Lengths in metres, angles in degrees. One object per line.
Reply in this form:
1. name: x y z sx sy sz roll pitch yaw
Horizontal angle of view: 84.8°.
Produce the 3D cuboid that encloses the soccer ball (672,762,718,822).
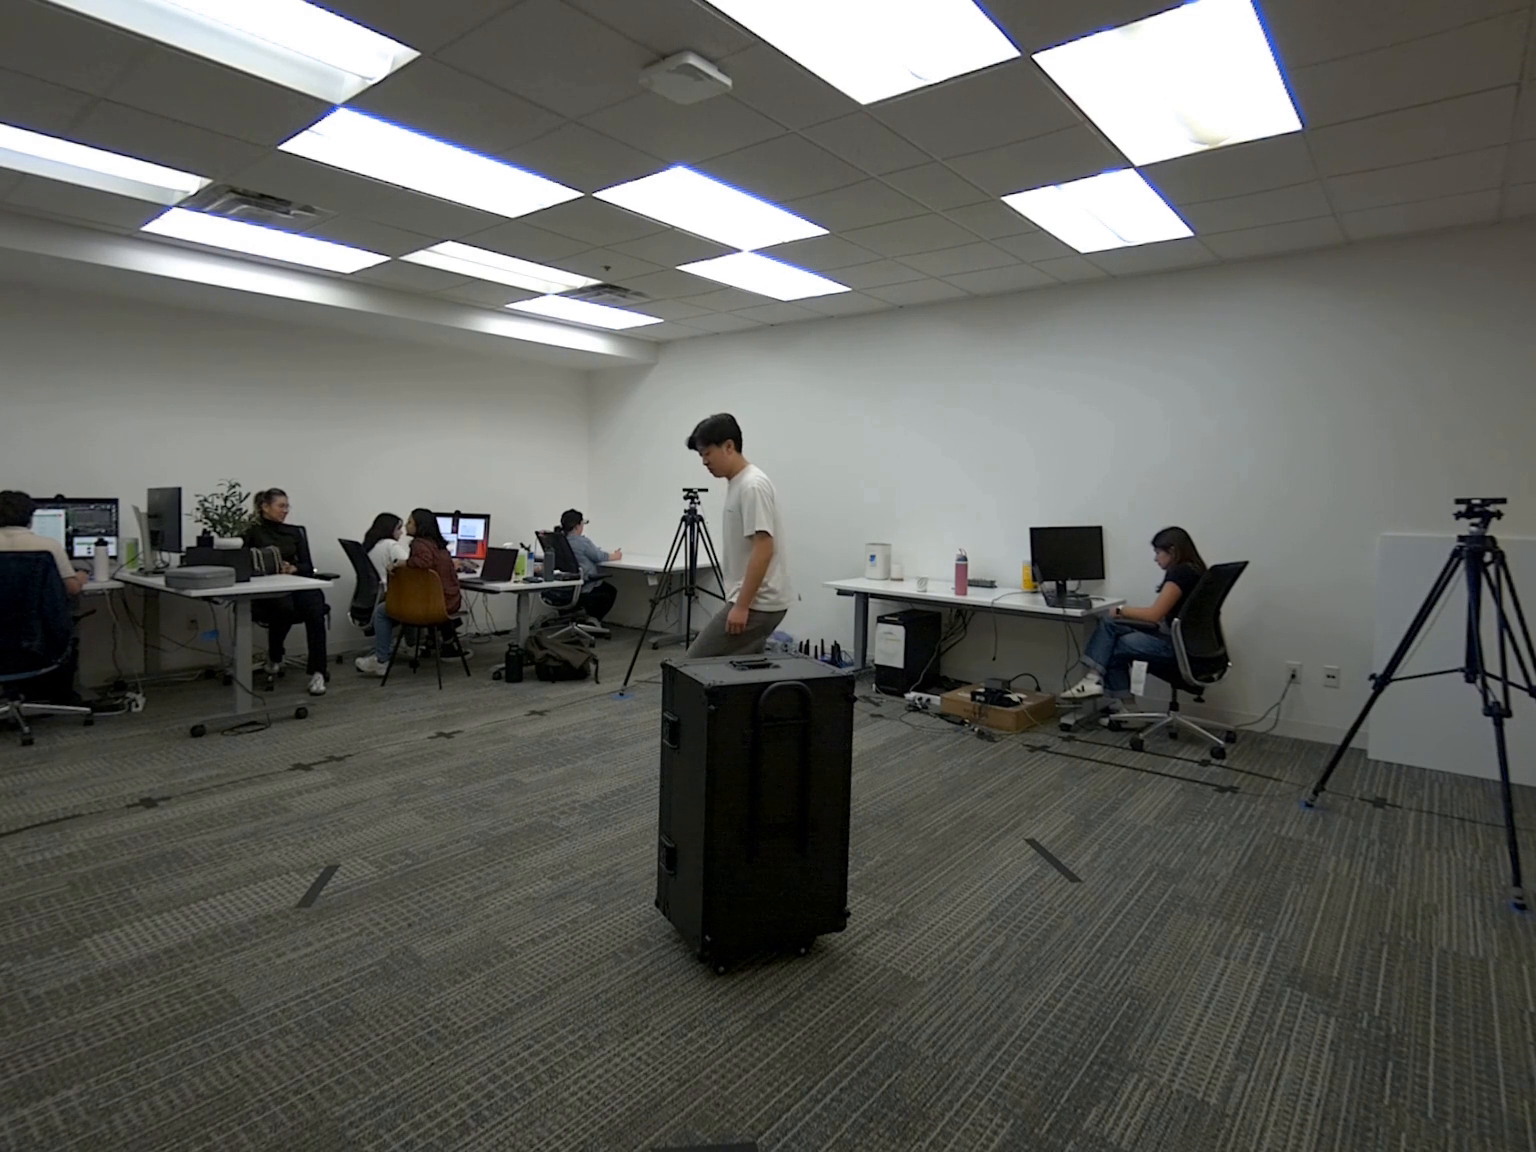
1. soccer ball: -0.312 0.919 3.592 0.187 0.187 0.188 1 4 -2
